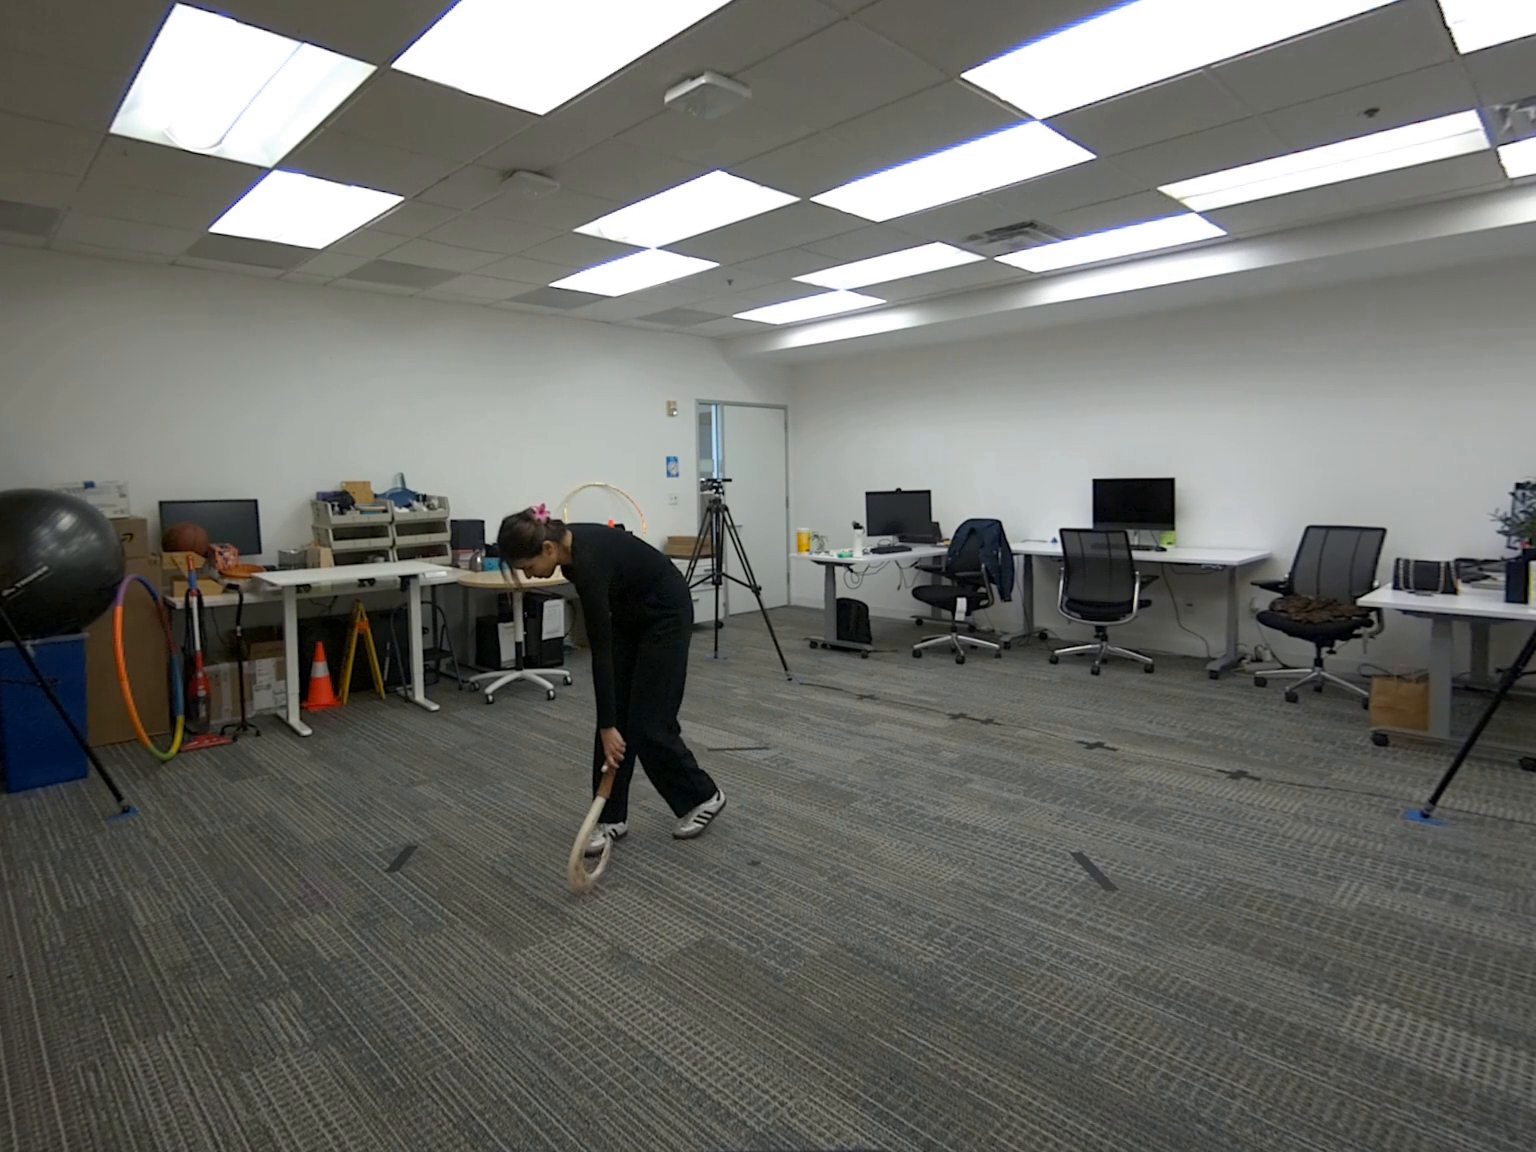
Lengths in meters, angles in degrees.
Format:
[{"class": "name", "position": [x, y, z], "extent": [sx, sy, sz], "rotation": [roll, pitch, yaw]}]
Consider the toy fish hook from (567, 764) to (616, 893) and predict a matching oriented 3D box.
[{"class": "toy fish hook", "position": [-0.577, 0.837, 2.973], "extent": [0.049, 0.513, 0.217], "rotation": [5, -26, 20]}]
